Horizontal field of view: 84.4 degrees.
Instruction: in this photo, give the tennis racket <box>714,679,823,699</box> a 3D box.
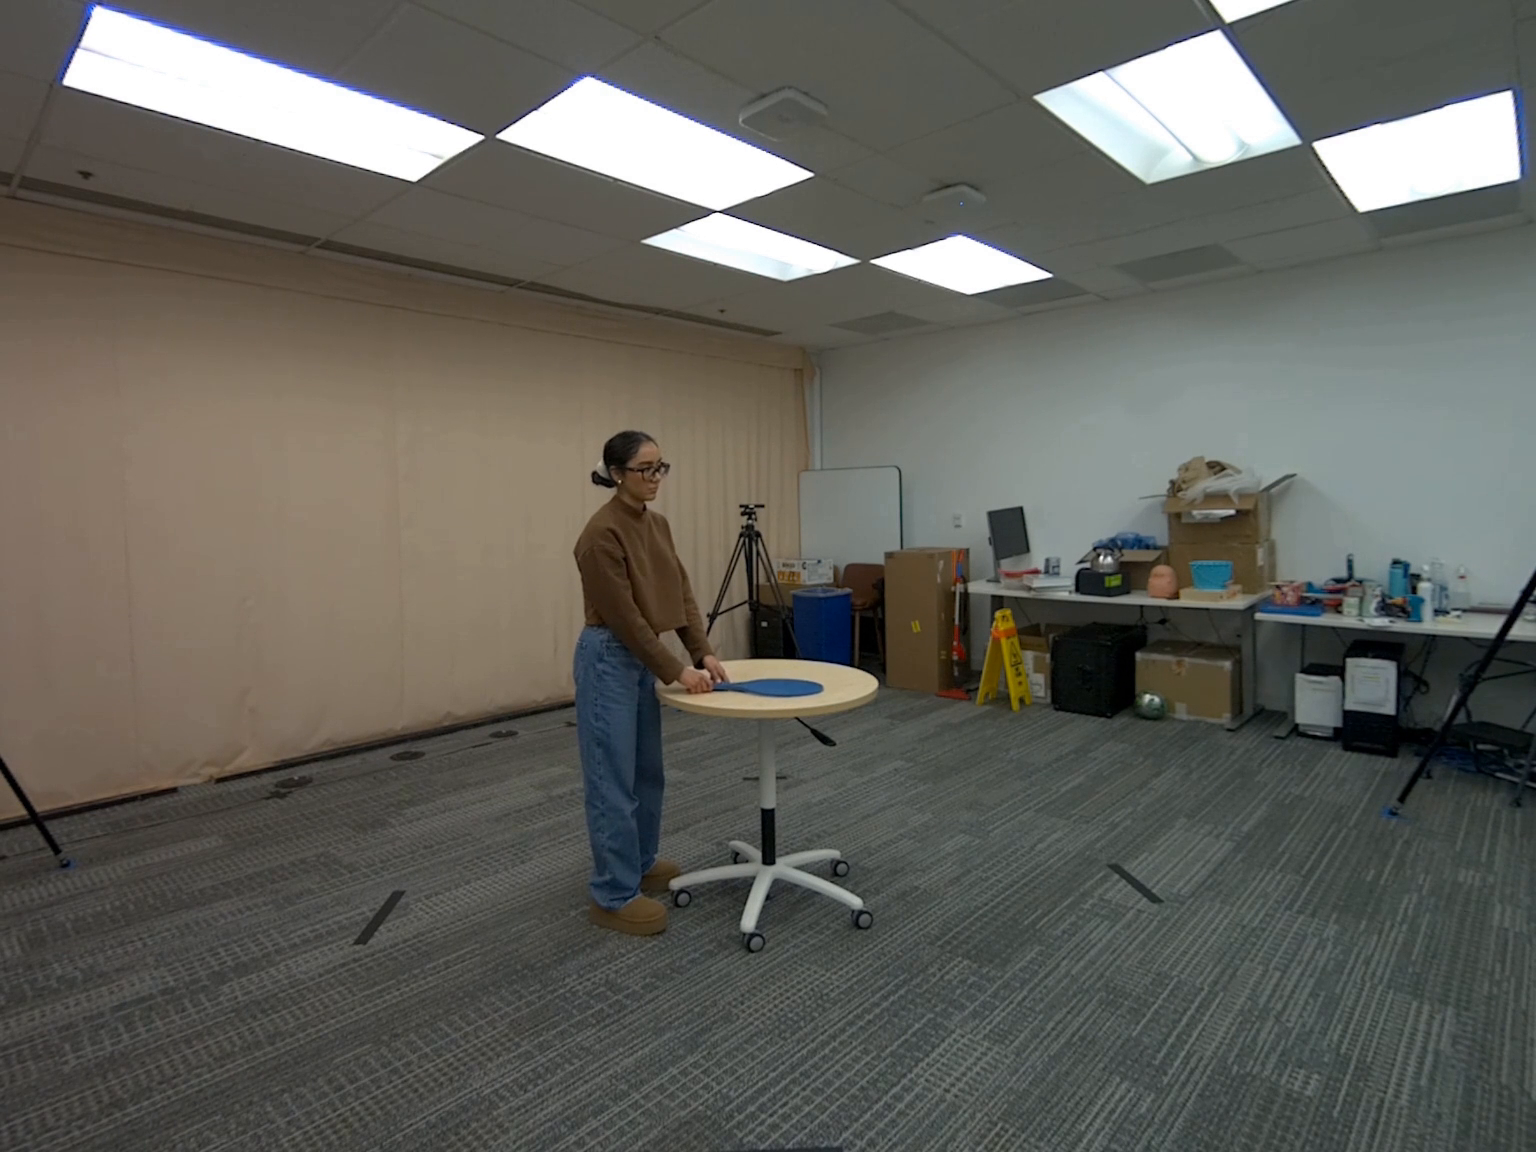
[{"bbox_3d":[-0.021,0.372,2.752,0.435,0.032,0.213,1,5,3],"label":"tennis racket"}]
